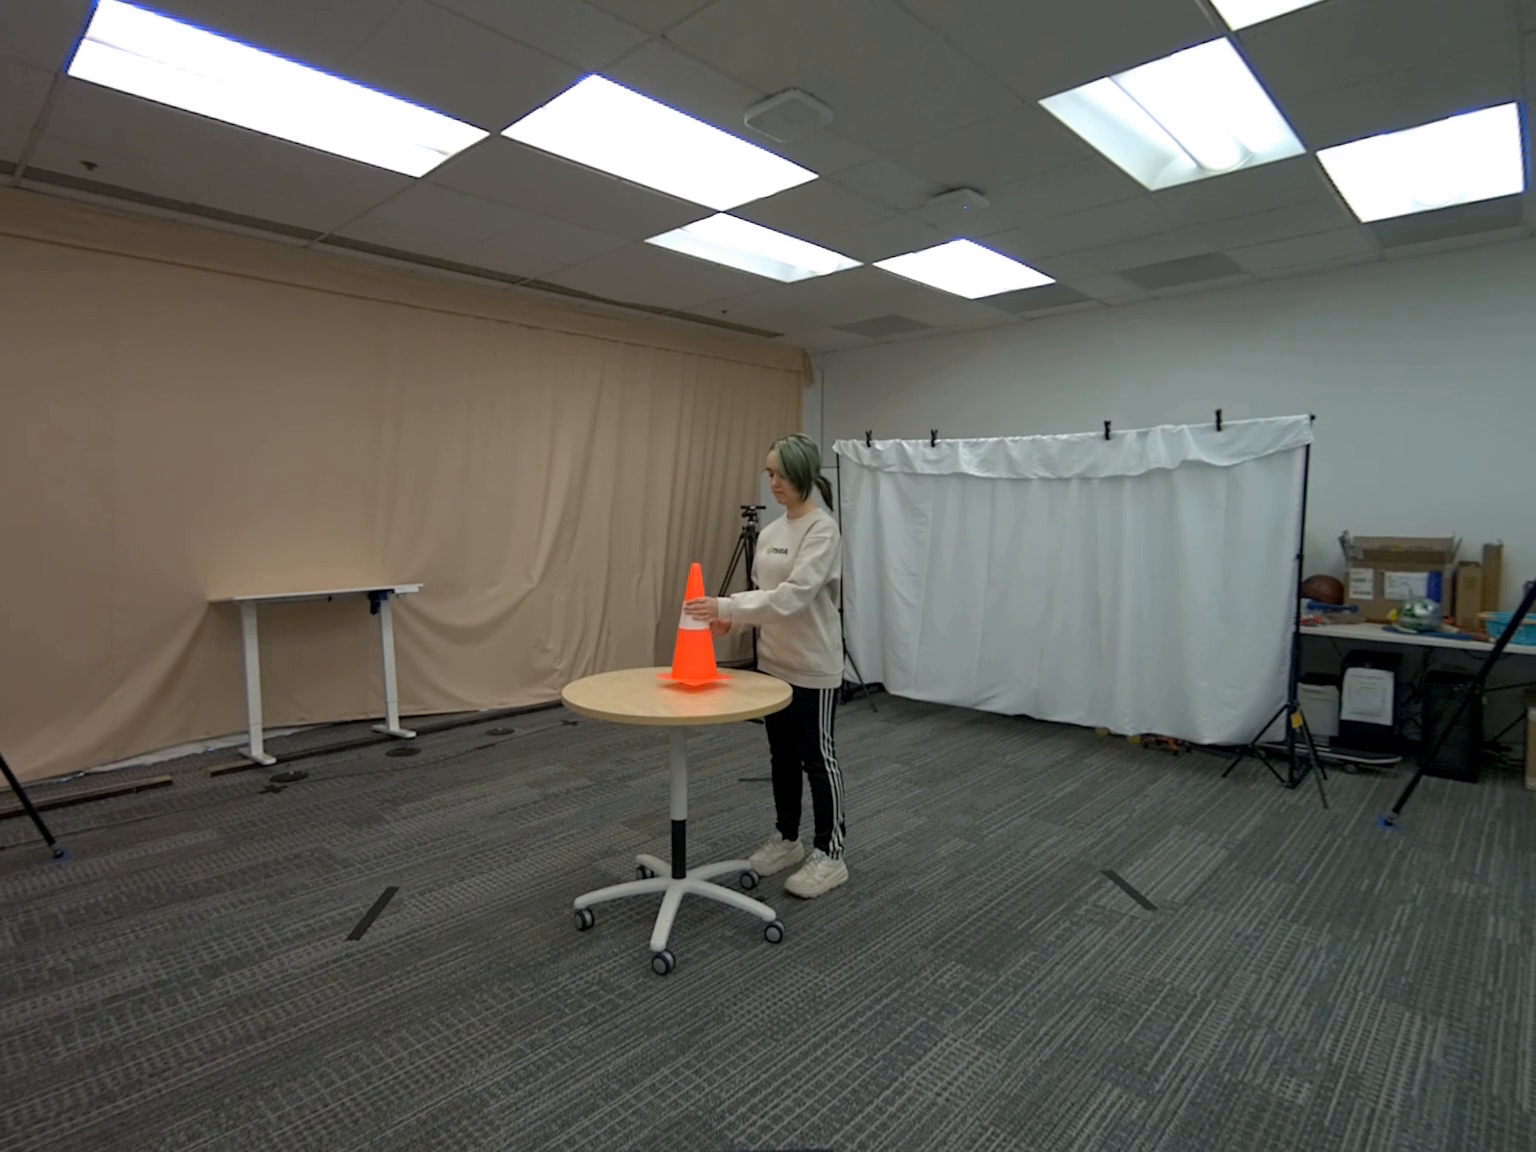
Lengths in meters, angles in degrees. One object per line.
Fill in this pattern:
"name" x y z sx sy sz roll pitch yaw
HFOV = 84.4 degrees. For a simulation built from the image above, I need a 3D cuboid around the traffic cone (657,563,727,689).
"traffic cone" -0.241 0.154 2.841 0.211 0.383 0.197 1 1 34
